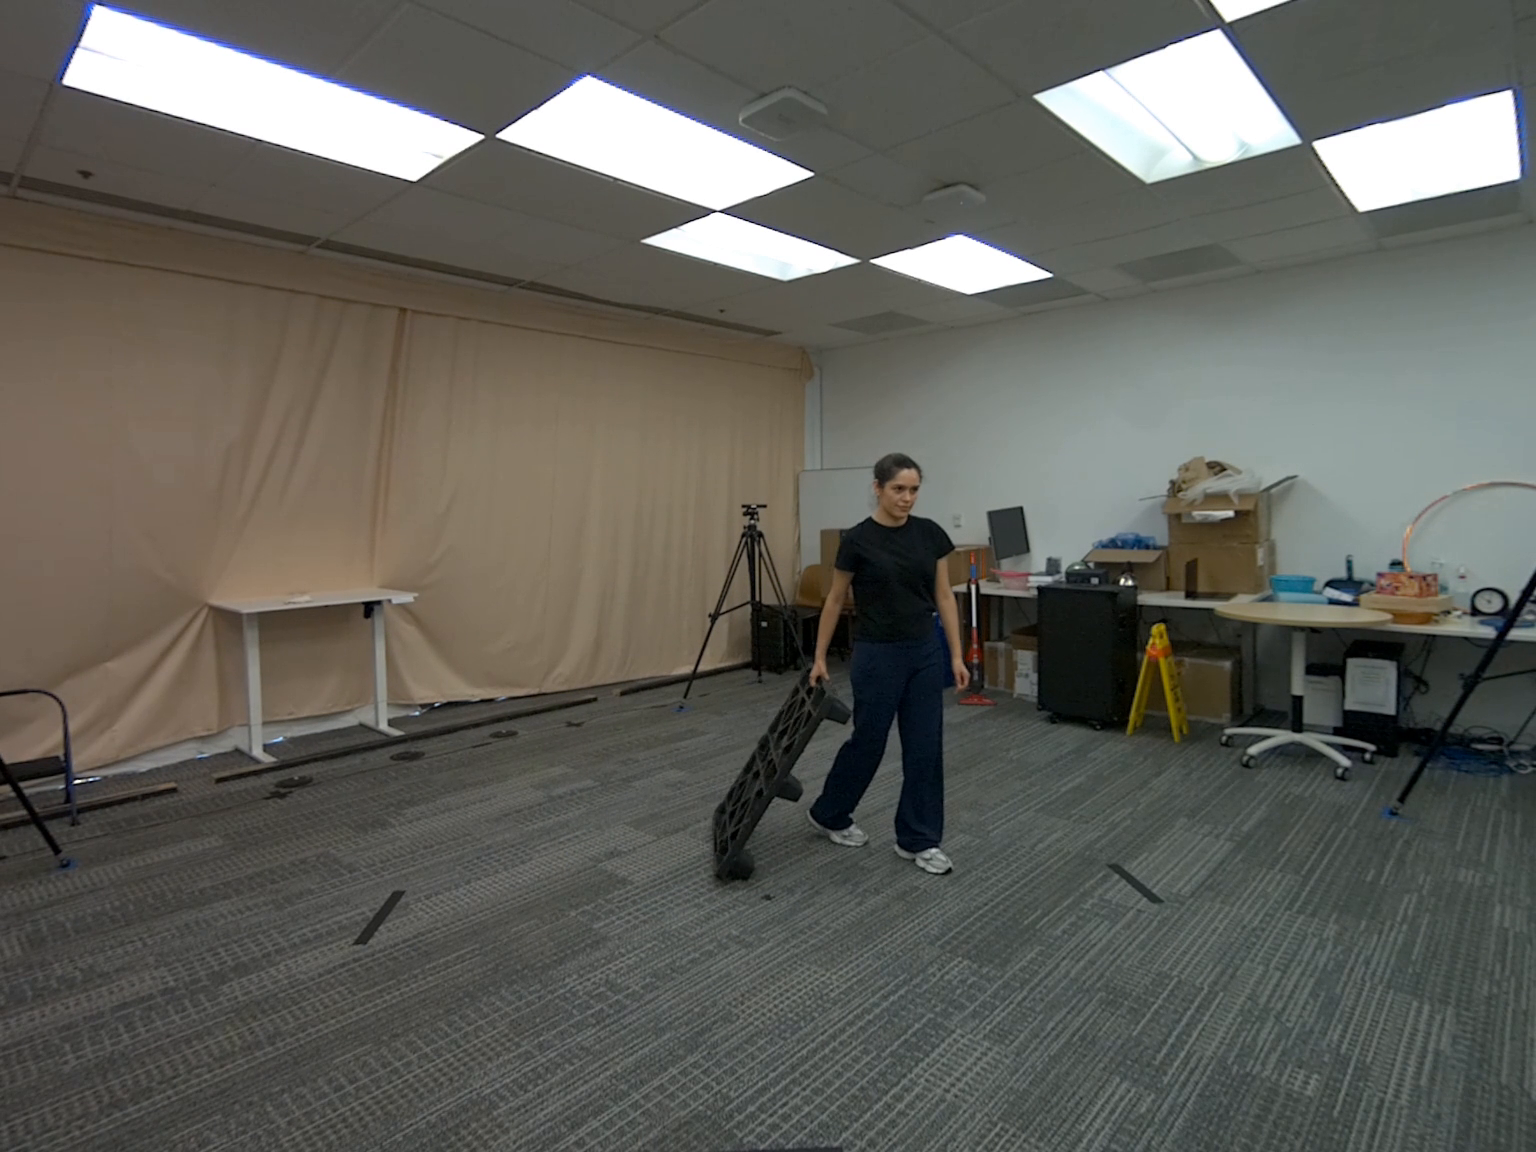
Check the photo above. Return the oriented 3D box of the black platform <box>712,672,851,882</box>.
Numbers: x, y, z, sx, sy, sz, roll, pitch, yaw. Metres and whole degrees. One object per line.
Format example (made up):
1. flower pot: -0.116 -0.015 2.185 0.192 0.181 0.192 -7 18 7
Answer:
1. black platform: 0.057 0.759 3.335 0.142 0.805 0.609 31 2 -7
